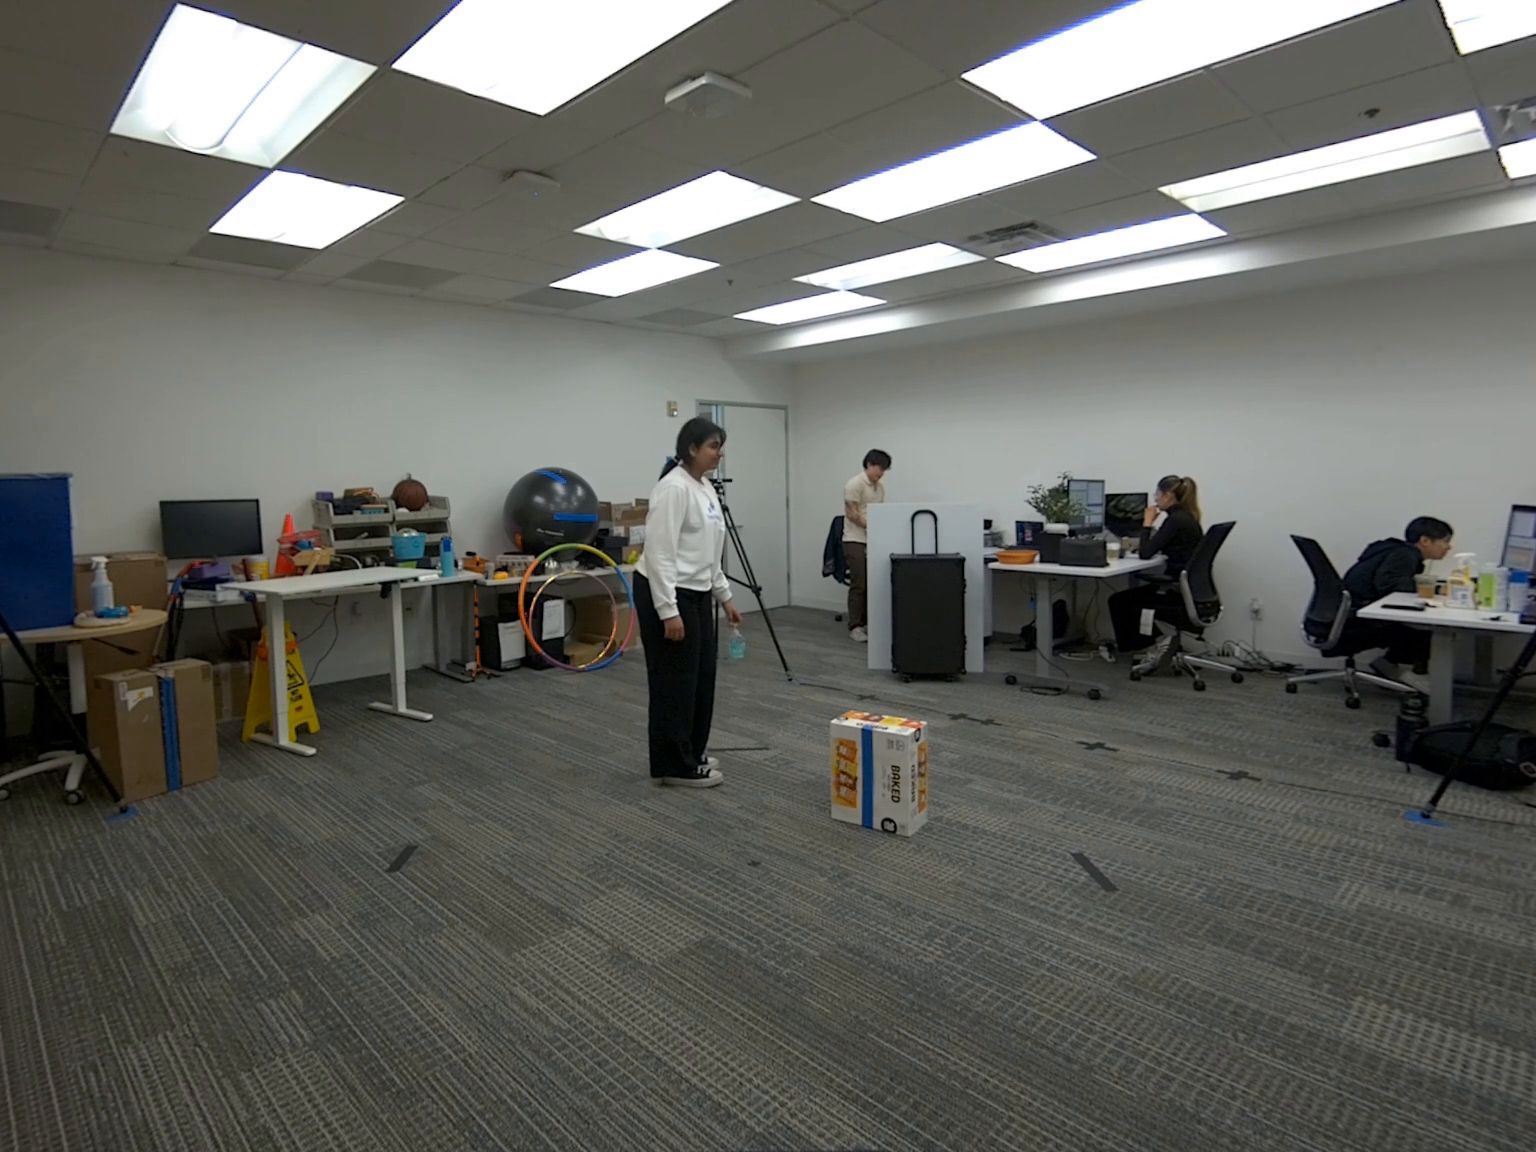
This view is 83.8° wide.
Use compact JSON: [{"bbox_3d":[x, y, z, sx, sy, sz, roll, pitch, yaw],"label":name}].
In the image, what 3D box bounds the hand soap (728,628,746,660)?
[{"bbox_3d":[-0.163,0.321,4.147,0.084,0.168,0.044,-4,2,-9],"label":"hand soap"}]
